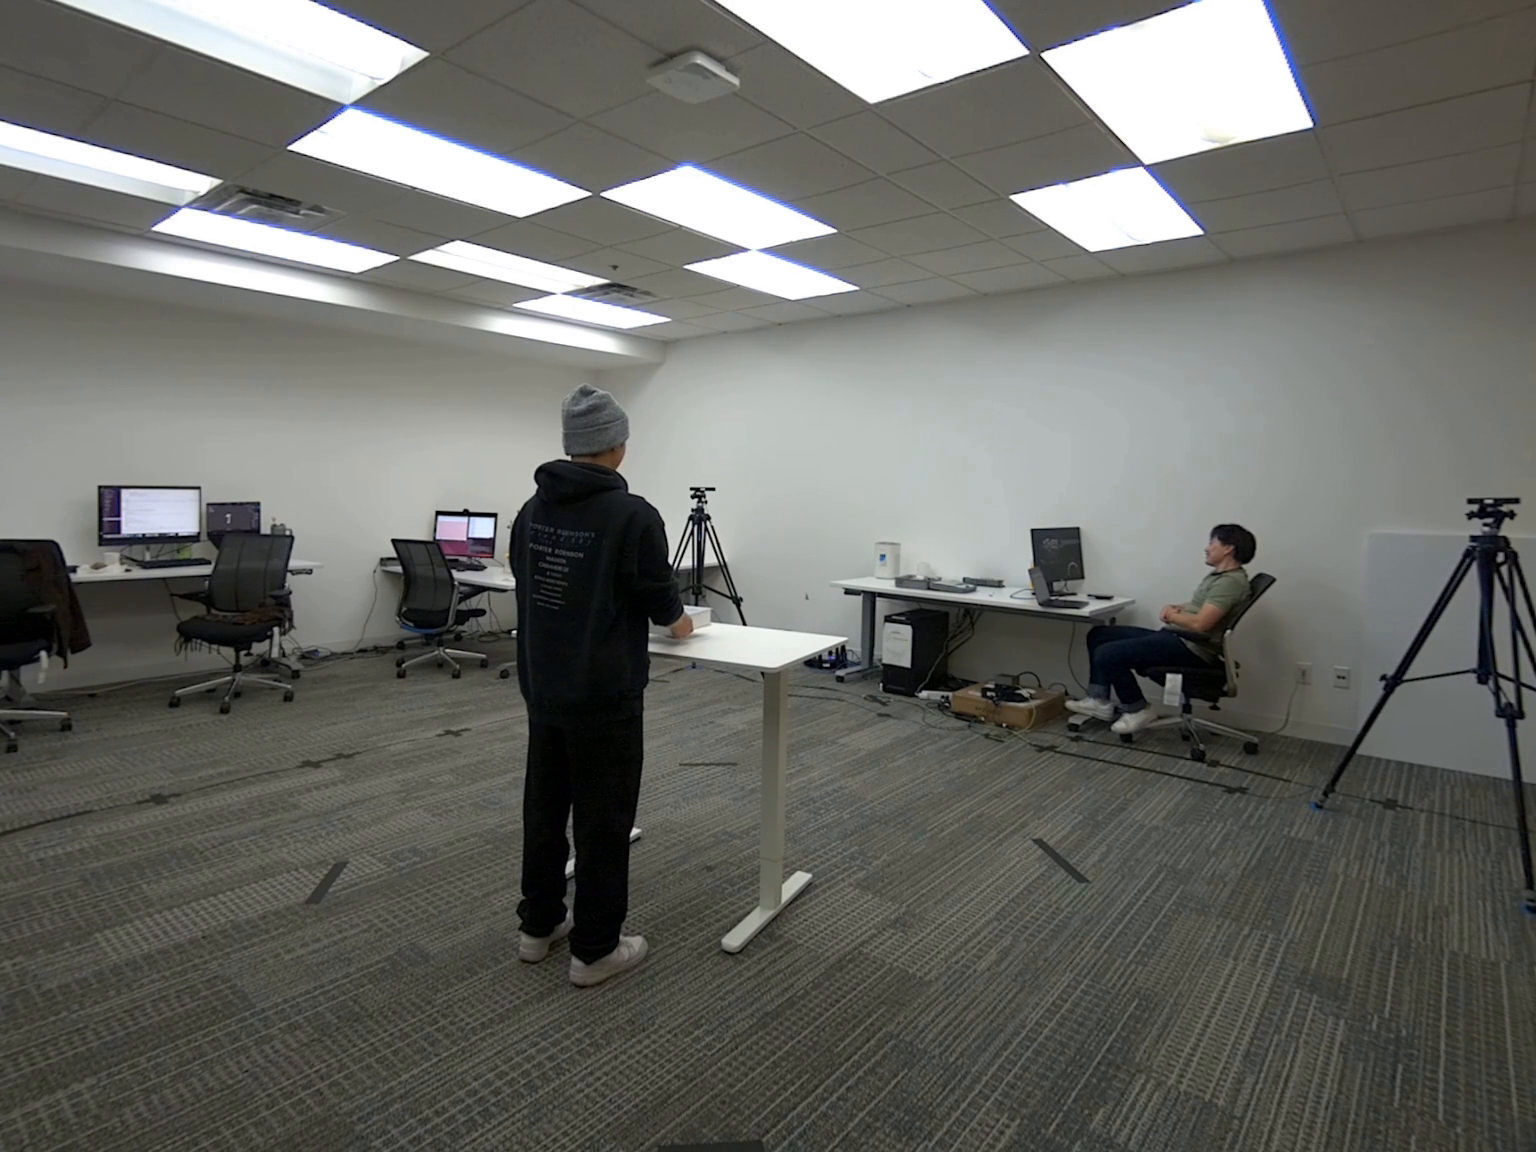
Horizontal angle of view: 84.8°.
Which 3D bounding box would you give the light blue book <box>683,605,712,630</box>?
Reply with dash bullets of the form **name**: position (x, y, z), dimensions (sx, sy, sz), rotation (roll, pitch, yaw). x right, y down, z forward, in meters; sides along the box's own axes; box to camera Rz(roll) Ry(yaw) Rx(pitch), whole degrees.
- **light blue book**: position (-0.325, 0.147, 2.880), dimensions (0.196, 0.058, 0.256), rotation (3, 8, 22)
